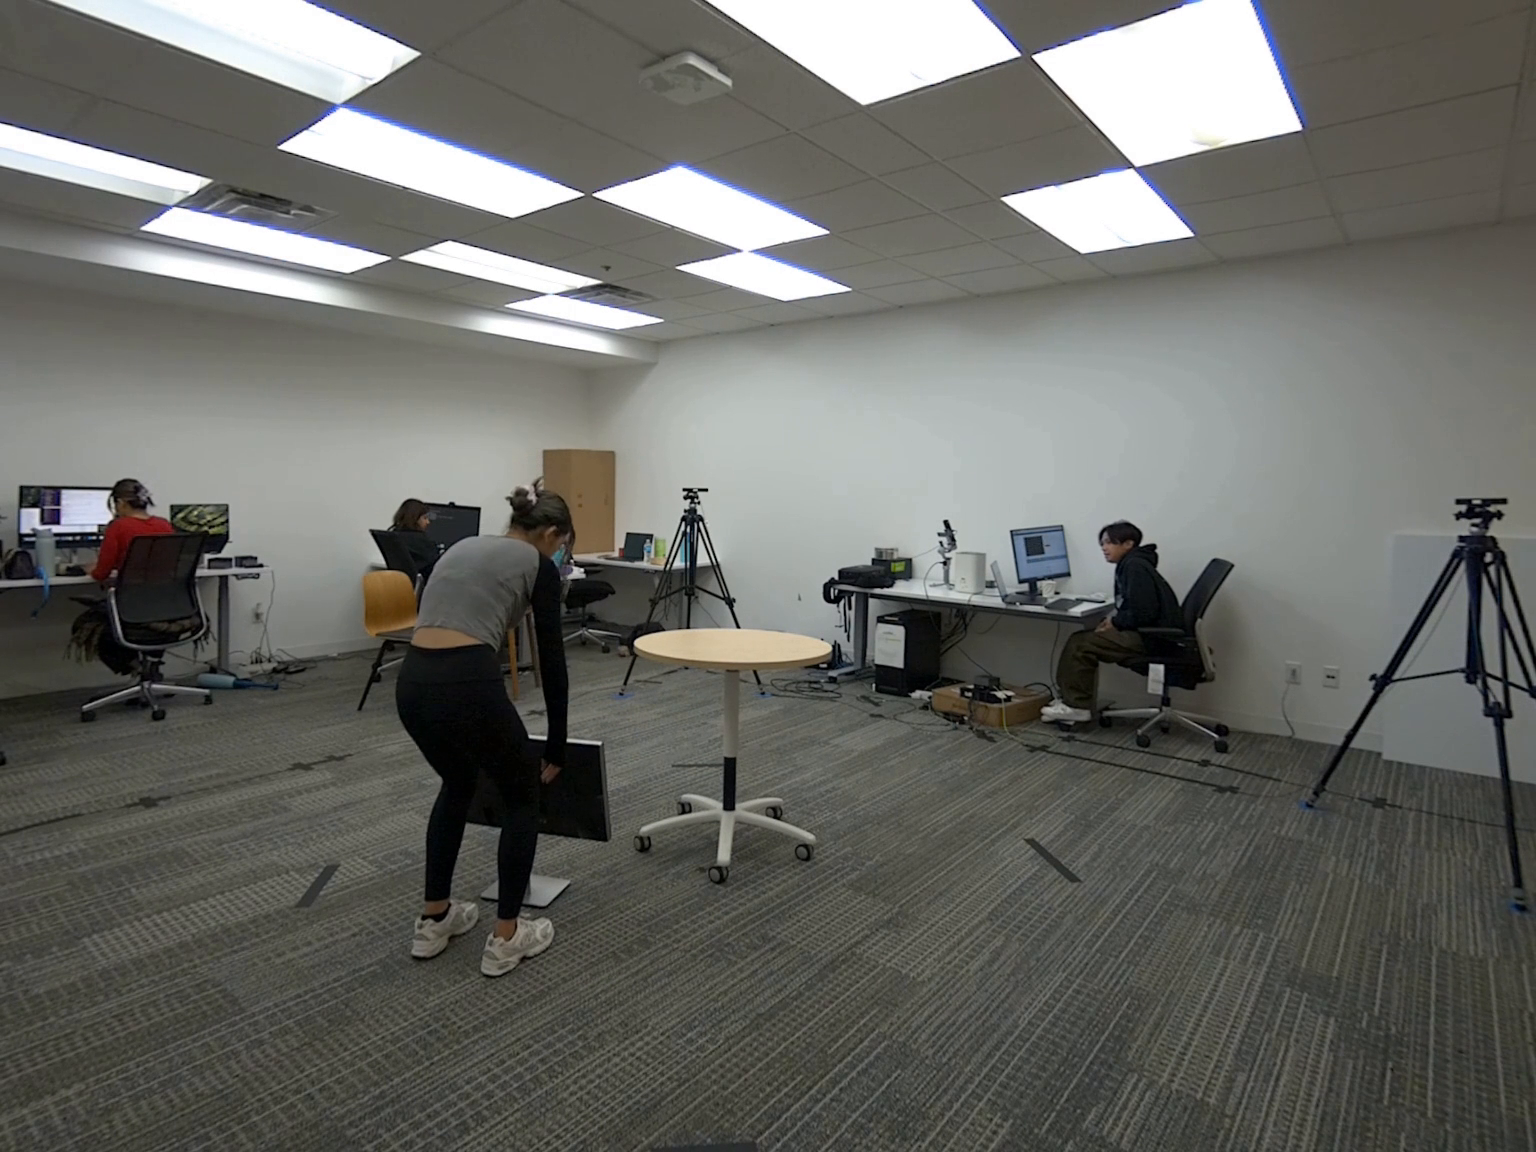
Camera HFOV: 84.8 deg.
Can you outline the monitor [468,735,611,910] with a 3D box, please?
[{"bbox_3d":[-0.835,0.815,2.901,0.548,0.521,0.184,1,2,15],"label":"monitor"}]
